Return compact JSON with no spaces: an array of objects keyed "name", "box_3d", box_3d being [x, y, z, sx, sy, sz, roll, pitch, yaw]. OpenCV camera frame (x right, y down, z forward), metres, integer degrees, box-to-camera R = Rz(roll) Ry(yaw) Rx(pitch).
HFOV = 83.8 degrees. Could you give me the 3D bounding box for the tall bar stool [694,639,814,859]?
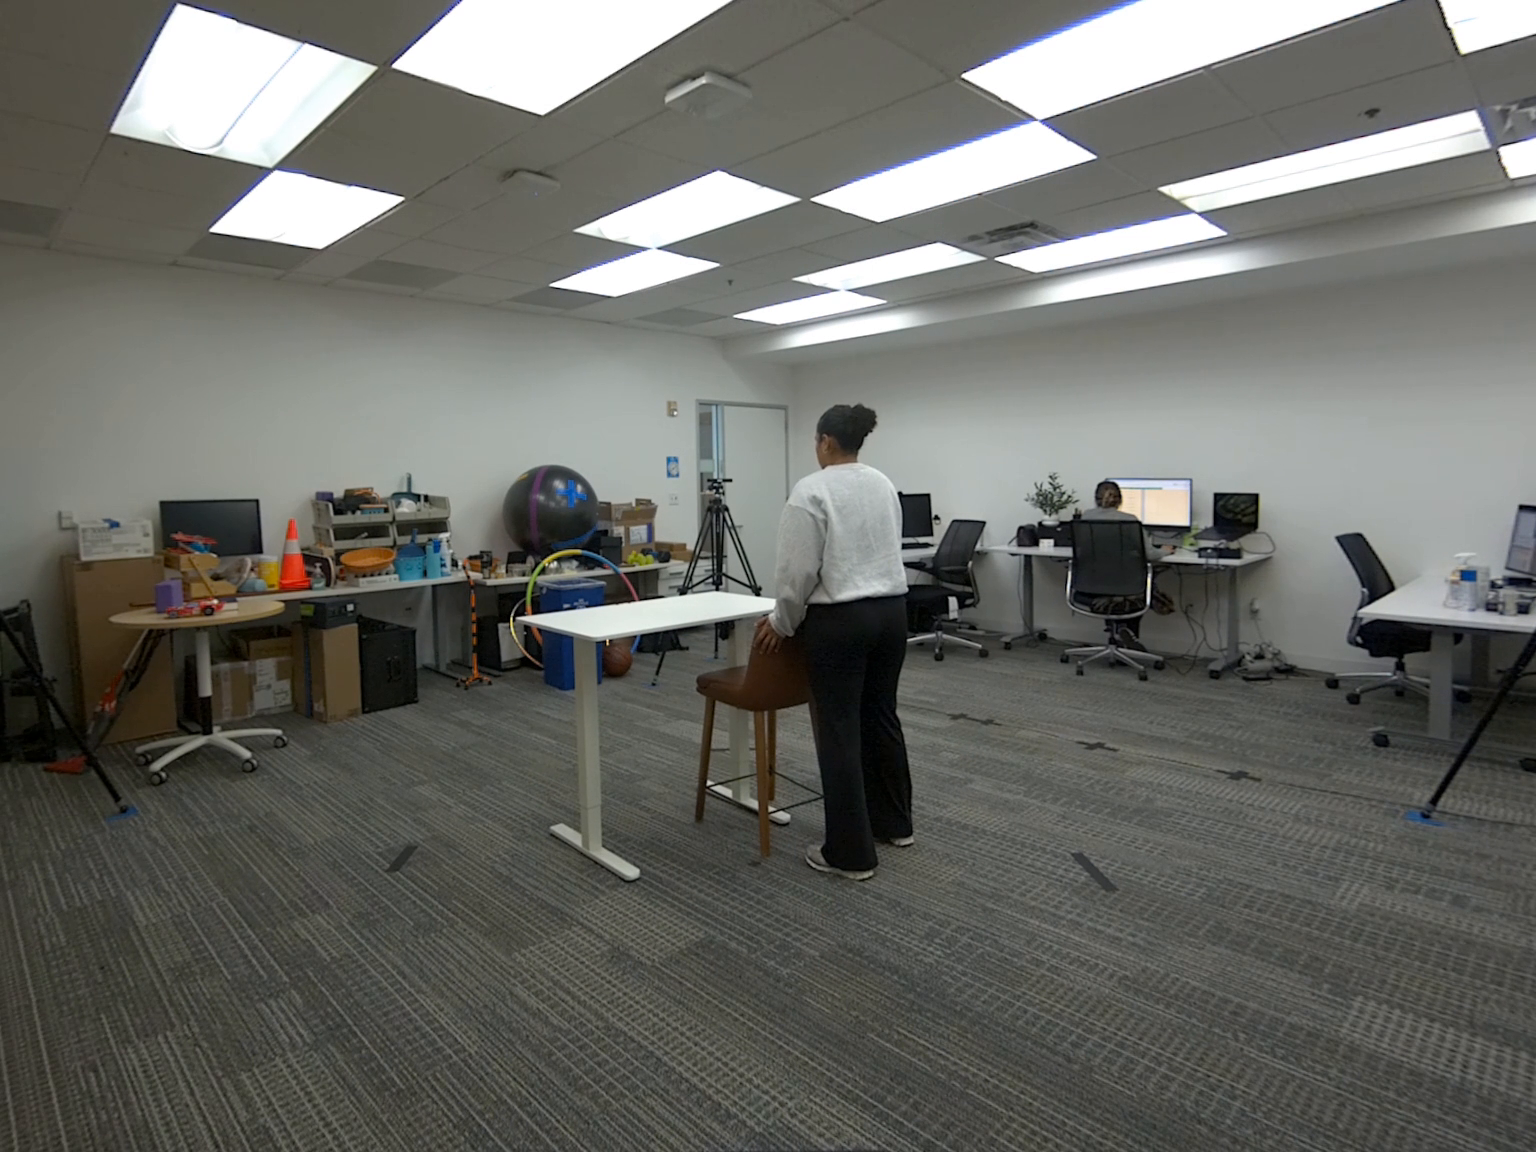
[{"name":"tall bar stool","box_3d":[-0.002,0.570,3.403,0.445,0.886,0.482,-3,6,-36]}]
